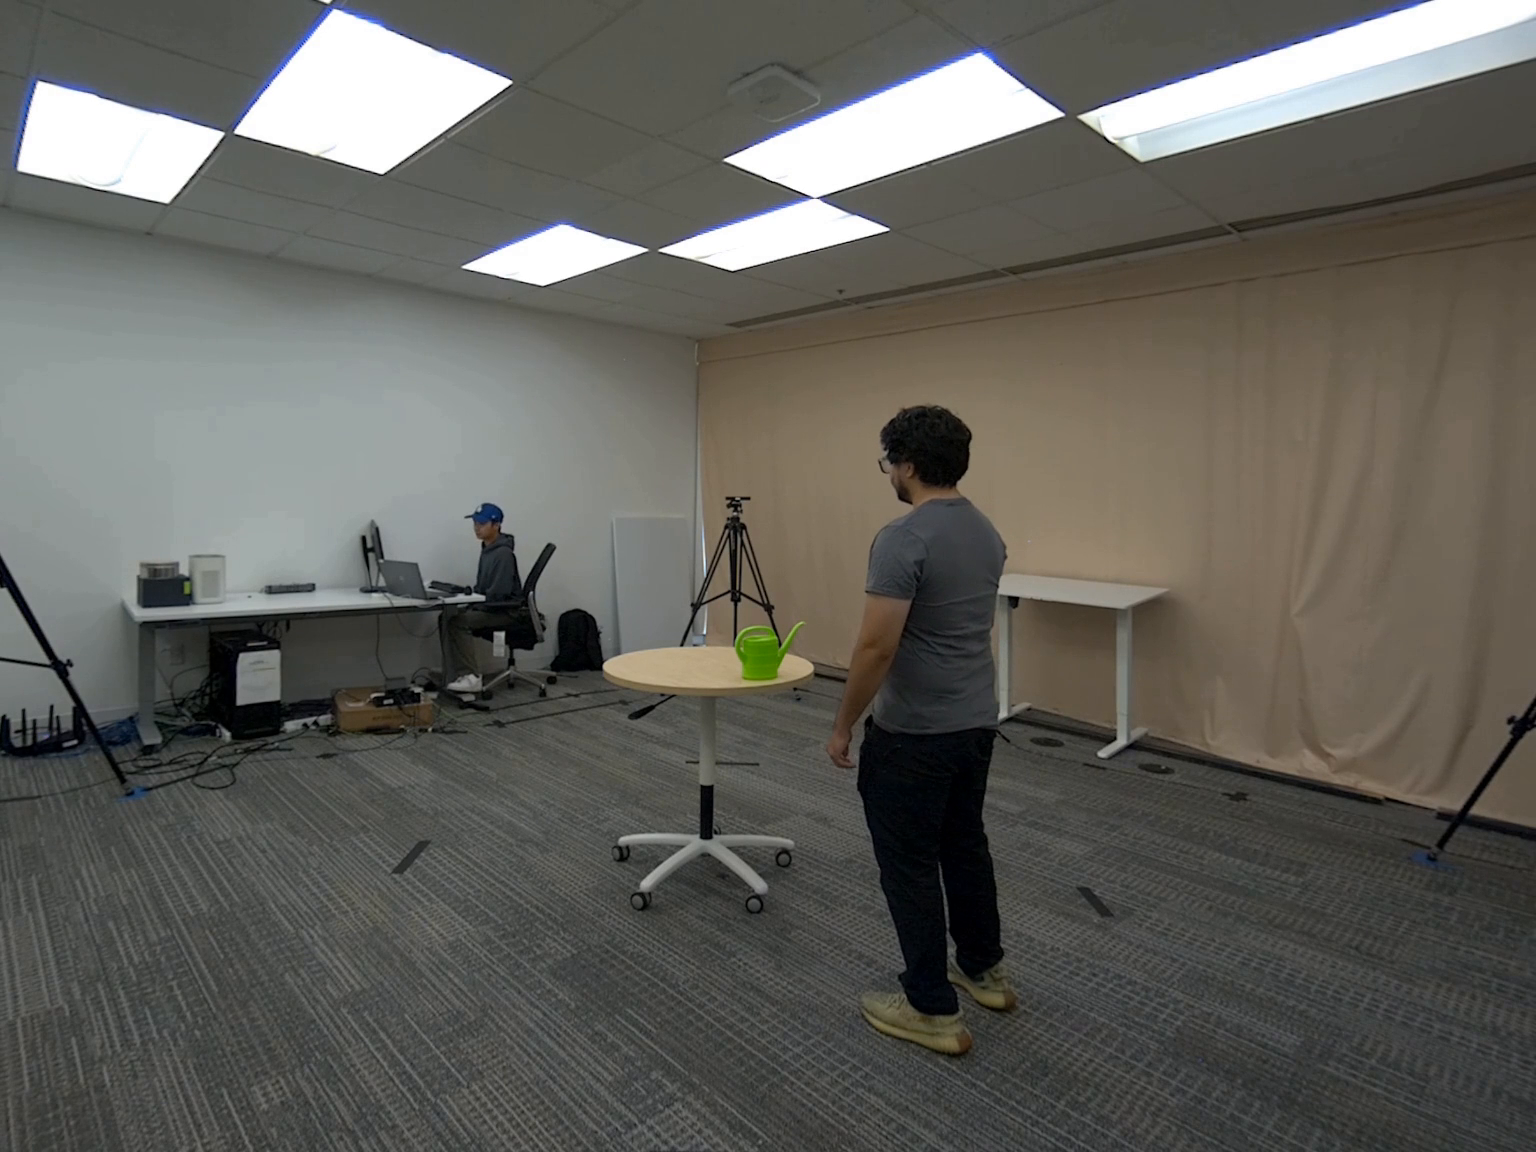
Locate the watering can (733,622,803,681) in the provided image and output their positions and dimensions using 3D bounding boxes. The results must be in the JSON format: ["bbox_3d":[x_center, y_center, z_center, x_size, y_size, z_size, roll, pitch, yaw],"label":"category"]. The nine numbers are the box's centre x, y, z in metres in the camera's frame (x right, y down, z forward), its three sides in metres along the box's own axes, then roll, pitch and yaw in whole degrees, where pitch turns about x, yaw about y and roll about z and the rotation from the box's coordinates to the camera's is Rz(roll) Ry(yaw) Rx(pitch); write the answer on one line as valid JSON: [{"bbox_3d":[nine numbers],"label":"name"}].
[{"bbox_3d":[0.009,0.258,2.870,0.275,0.176,0.099,-2,4,-15],"label":"watering can"}]
